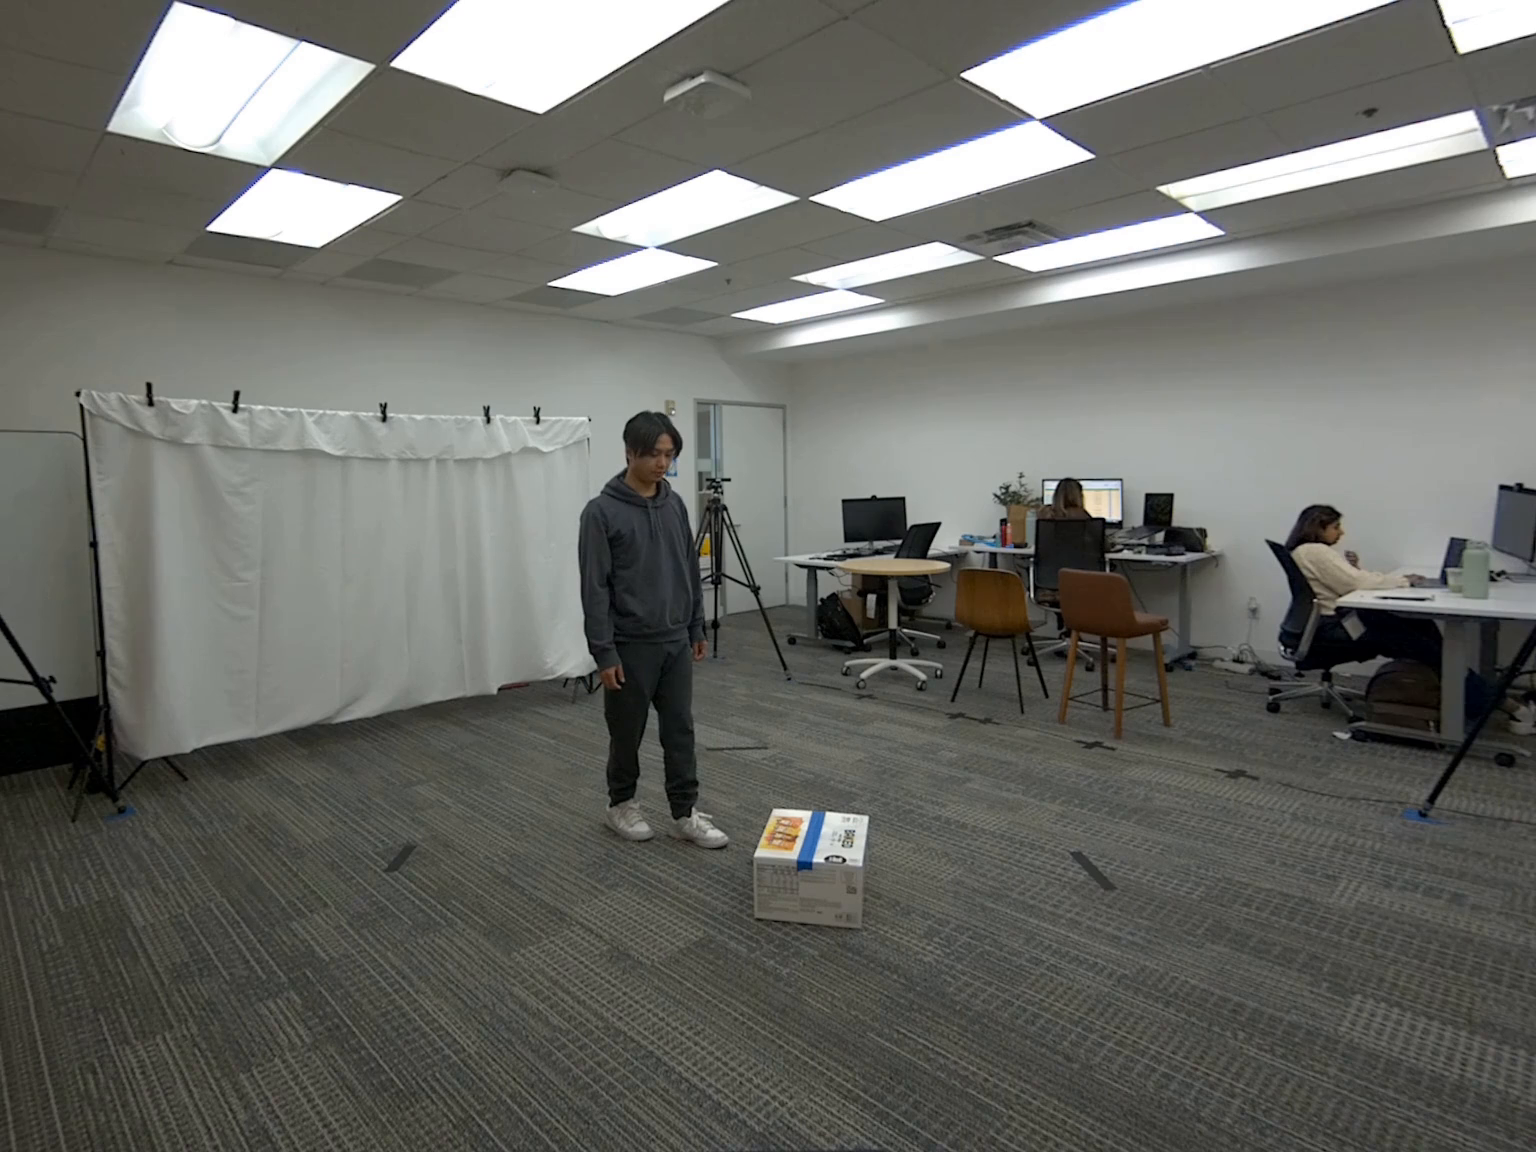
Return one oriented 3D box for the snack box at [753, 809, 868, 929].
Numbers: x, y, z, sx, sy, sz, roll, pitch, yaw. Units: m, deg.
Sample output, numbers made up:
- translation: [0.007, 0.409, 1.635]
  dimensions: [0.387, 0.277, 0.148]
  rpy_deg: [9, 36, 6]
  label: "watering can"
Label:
- translation: [0.160, 0.965, 2.856]
  dimensions: [0.344, 0.205, 0.402]
  rpy_deg: [0, 6, 11]
  label: "snack box"
